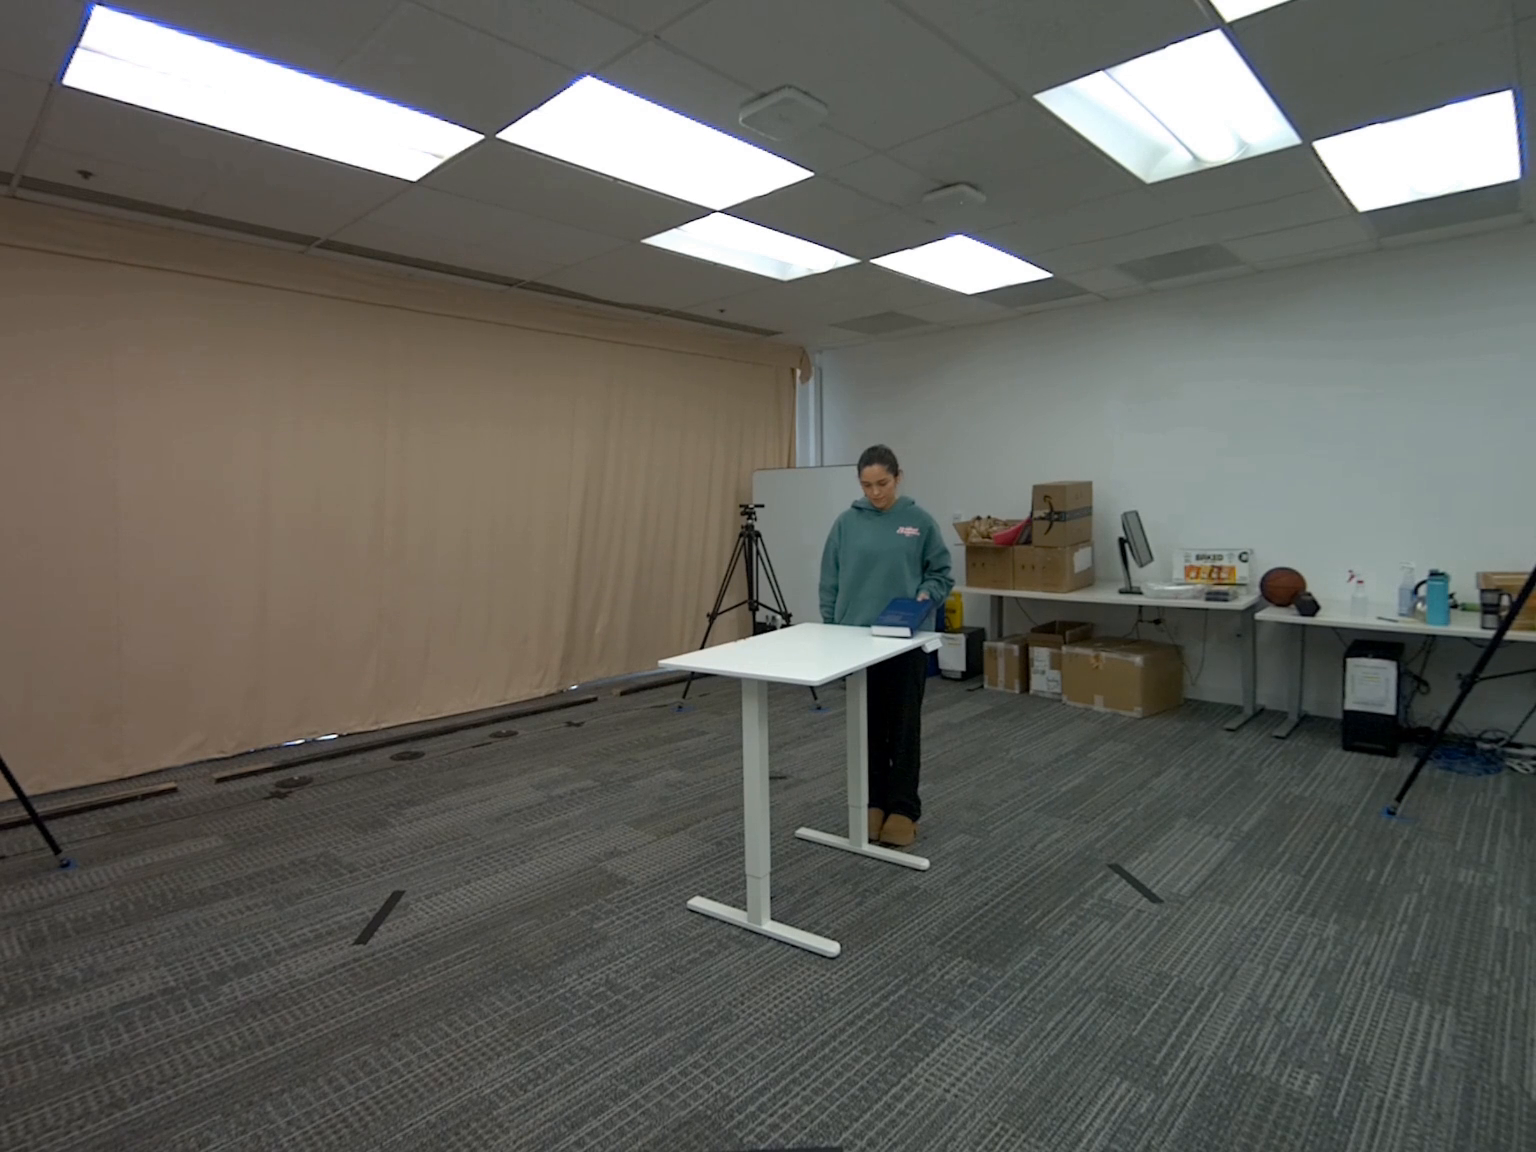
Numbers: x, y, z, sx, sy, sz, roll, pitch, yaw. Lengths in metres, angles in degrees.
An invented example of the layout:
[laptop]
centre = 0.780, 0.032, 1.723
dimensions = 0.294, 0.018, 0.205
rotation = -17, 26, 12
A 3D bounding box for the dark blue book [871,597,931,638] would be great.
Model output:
[dark blue book]
centre = 0.514, 0.155, 3.241
dimensions = 0.168, 0.044, 0.241
rotation = 0, 24, 35
